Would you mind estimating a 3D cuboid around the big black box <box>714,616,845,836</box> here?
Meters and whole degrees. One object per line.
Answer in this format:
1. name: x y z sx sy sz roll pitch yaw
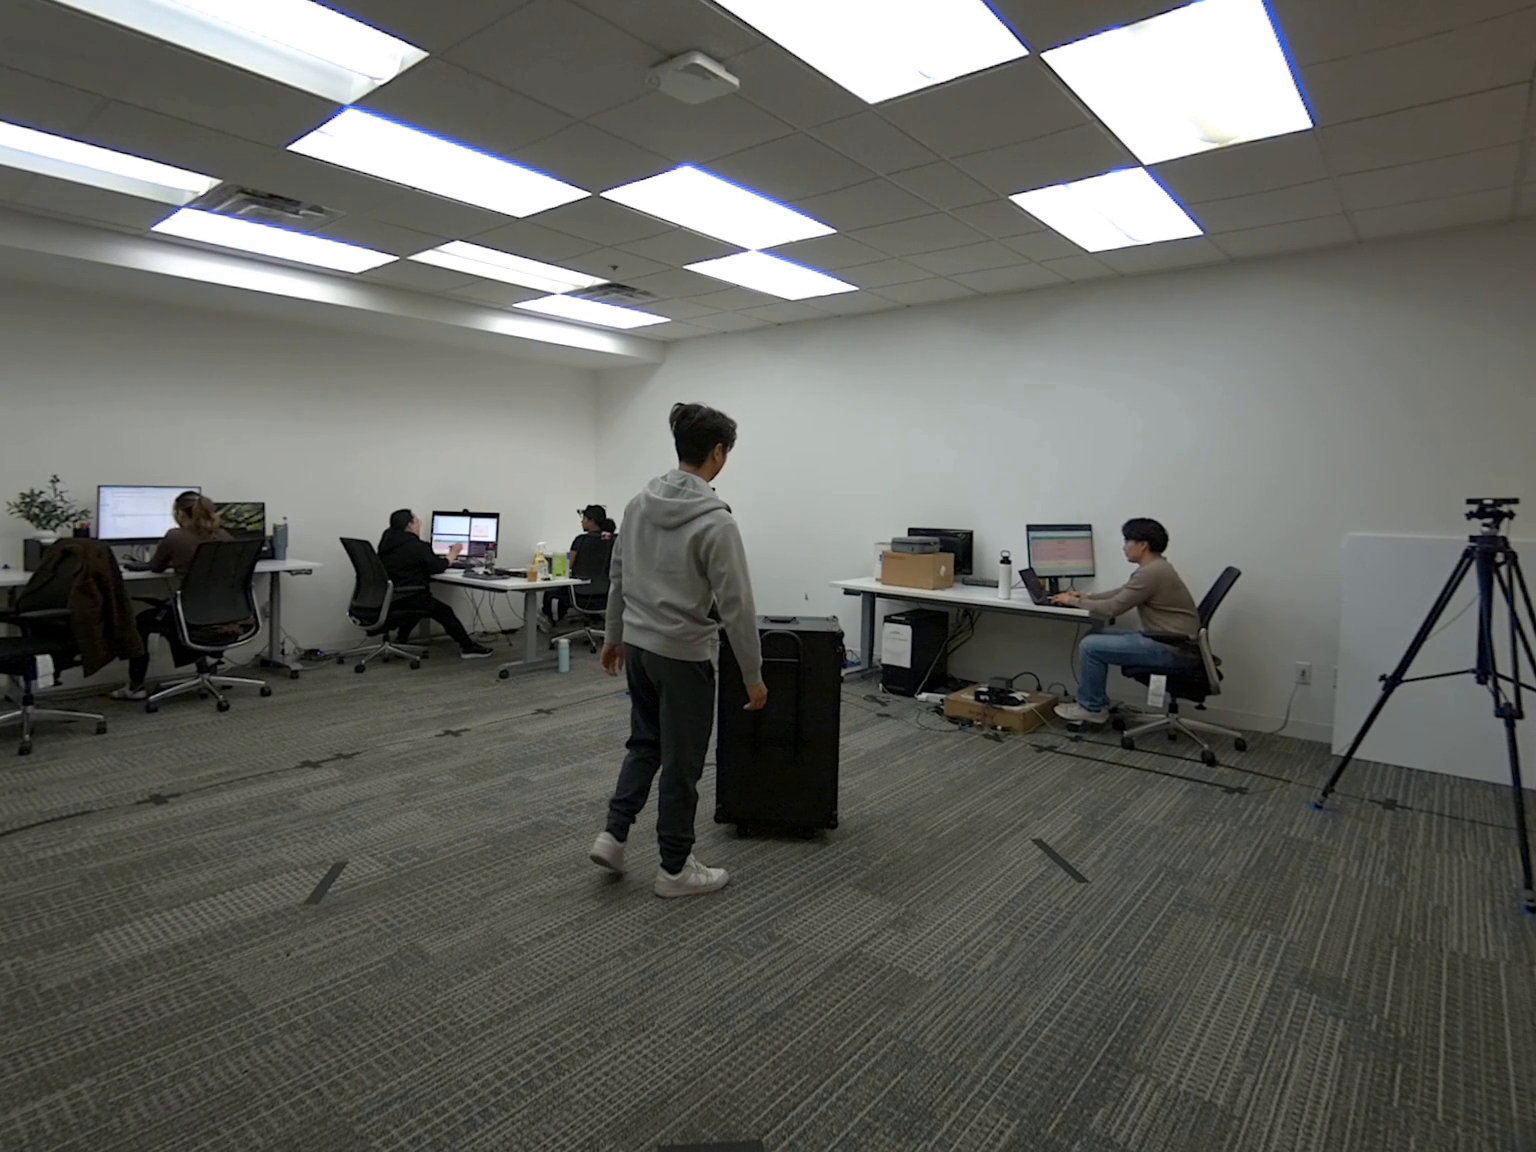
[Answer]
1. big black box: 0.037 0.608 3.485 0.524 0.857 0.396 1 5 3
